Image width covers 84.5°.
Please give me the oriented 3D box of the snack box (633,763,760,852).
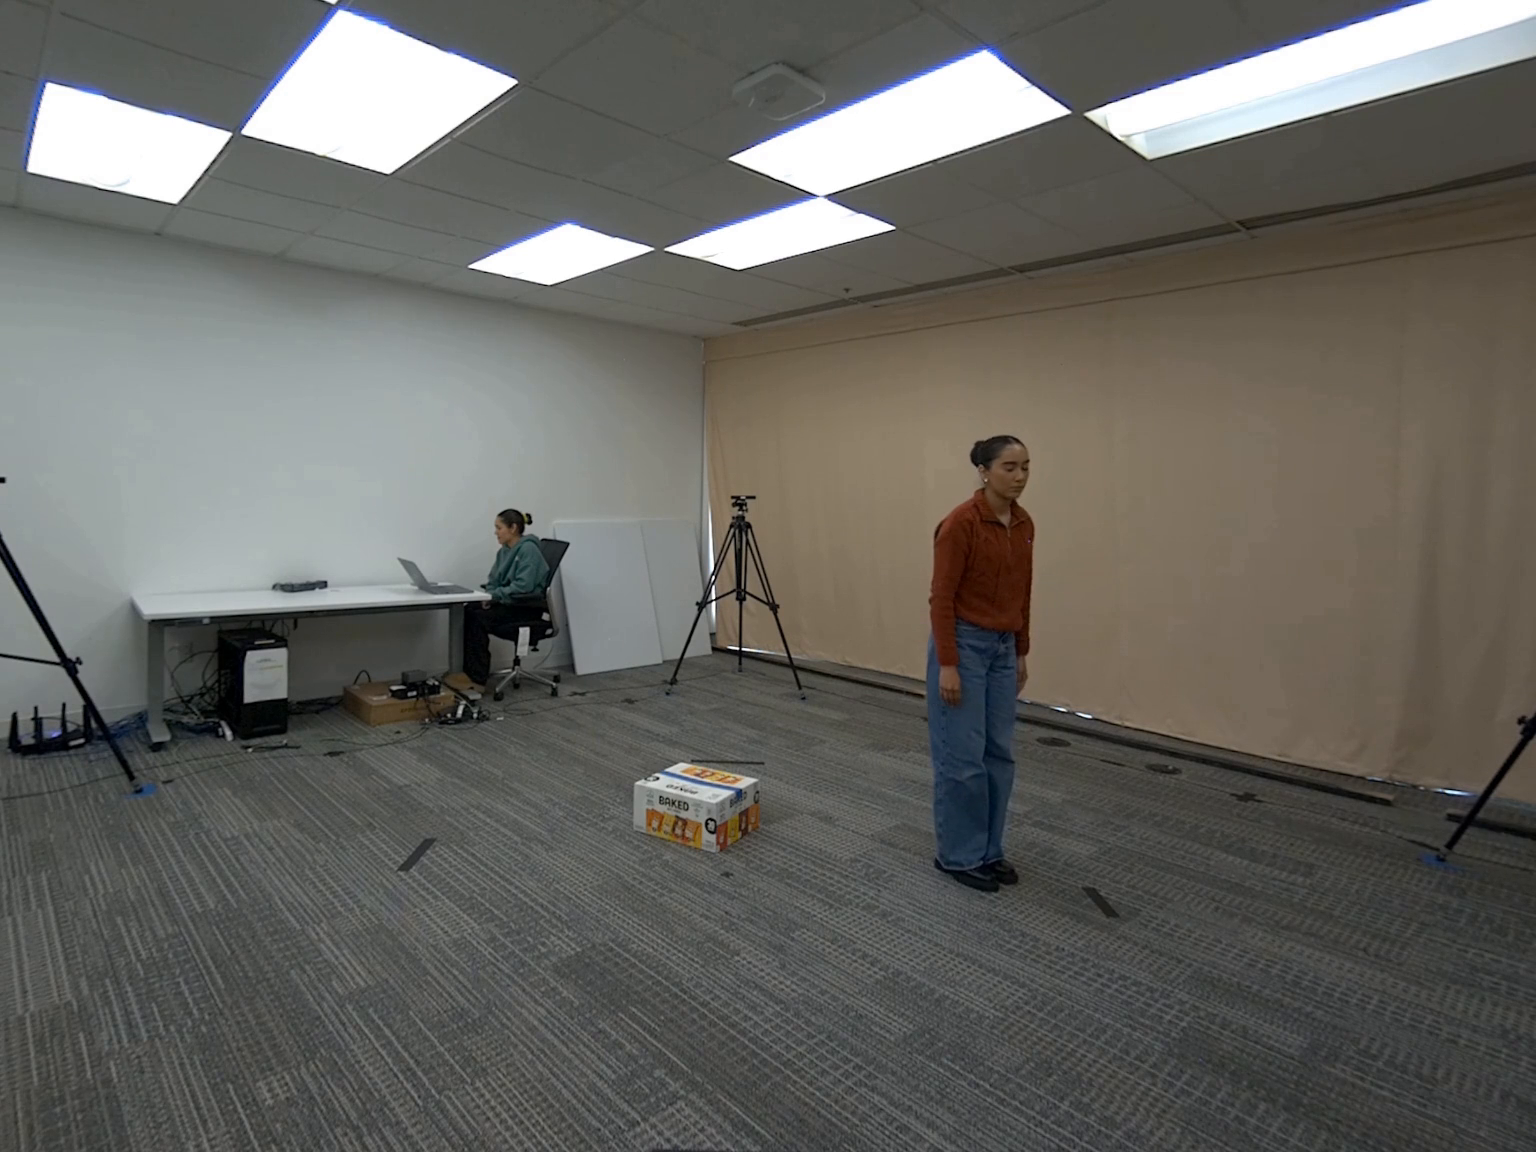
[{"bbox_3d":[-0.301,0.955,3.524,0.414,0.205,0.334,4,5,30],"label":"snack box"}]
